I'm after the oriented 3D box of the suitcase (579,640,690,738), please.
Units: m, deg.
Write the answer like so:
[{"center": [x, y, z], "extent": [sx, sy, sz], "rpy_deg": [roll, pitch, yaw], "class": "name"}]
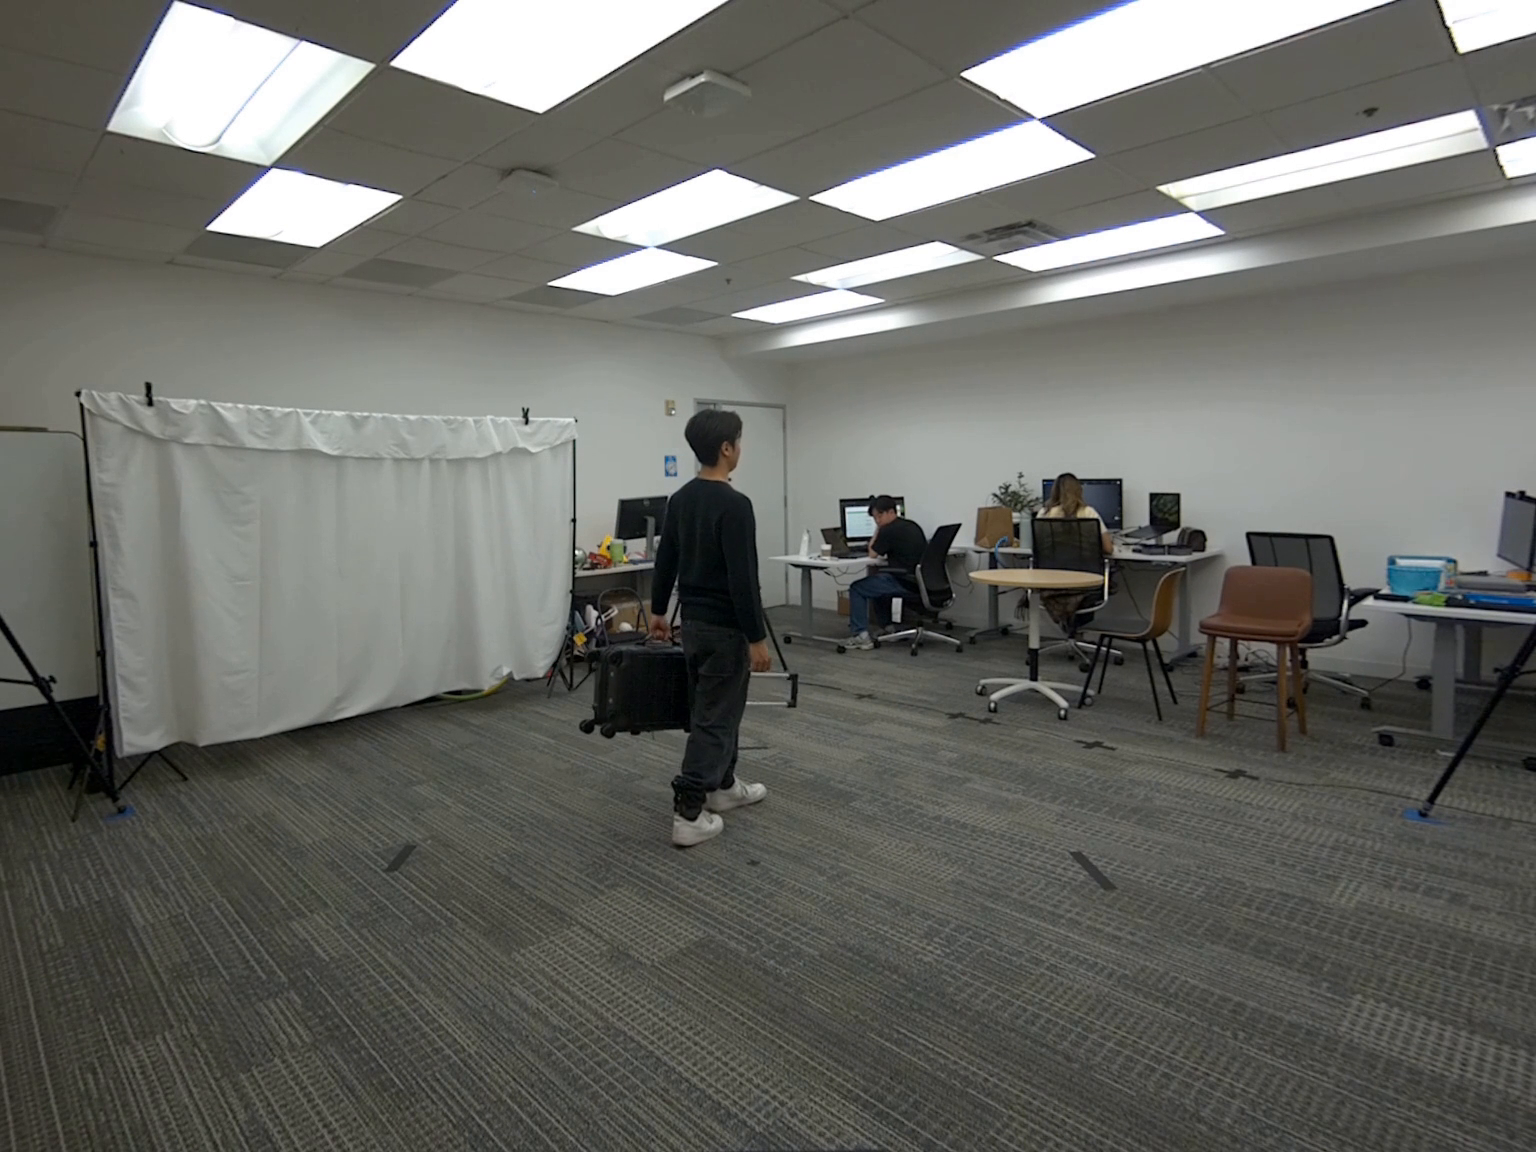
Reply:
[{"center": [-0.331, 0.489, 3.773], "extent": [0.950, 0.386, 0.263], "rpy_deg": [5, -5, -35], "class": "suitcase"}]
